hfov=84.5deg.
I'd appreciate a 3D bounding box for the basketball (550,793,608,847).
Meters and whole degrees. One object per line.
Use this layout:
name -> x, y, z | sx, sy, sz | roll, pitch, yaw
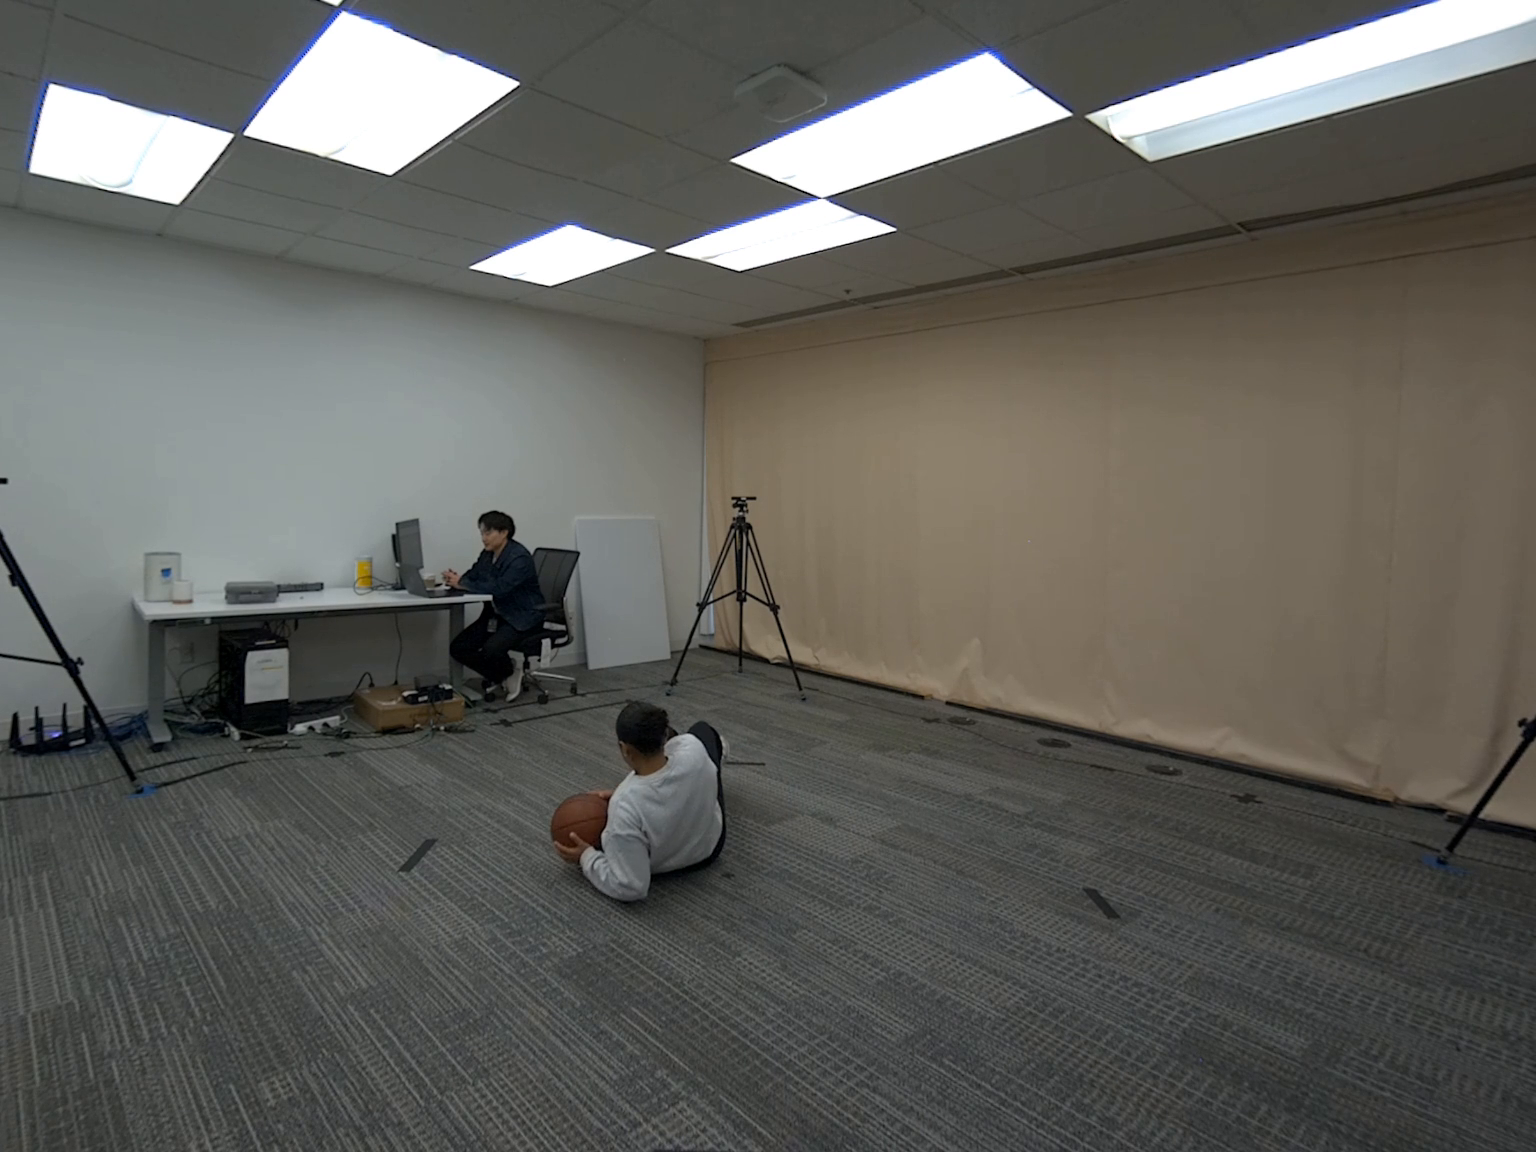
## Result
basketball -> -0.675, 0.895, 3.121 | 0.236, 0.235, 0.237 | 1, 4, -1
